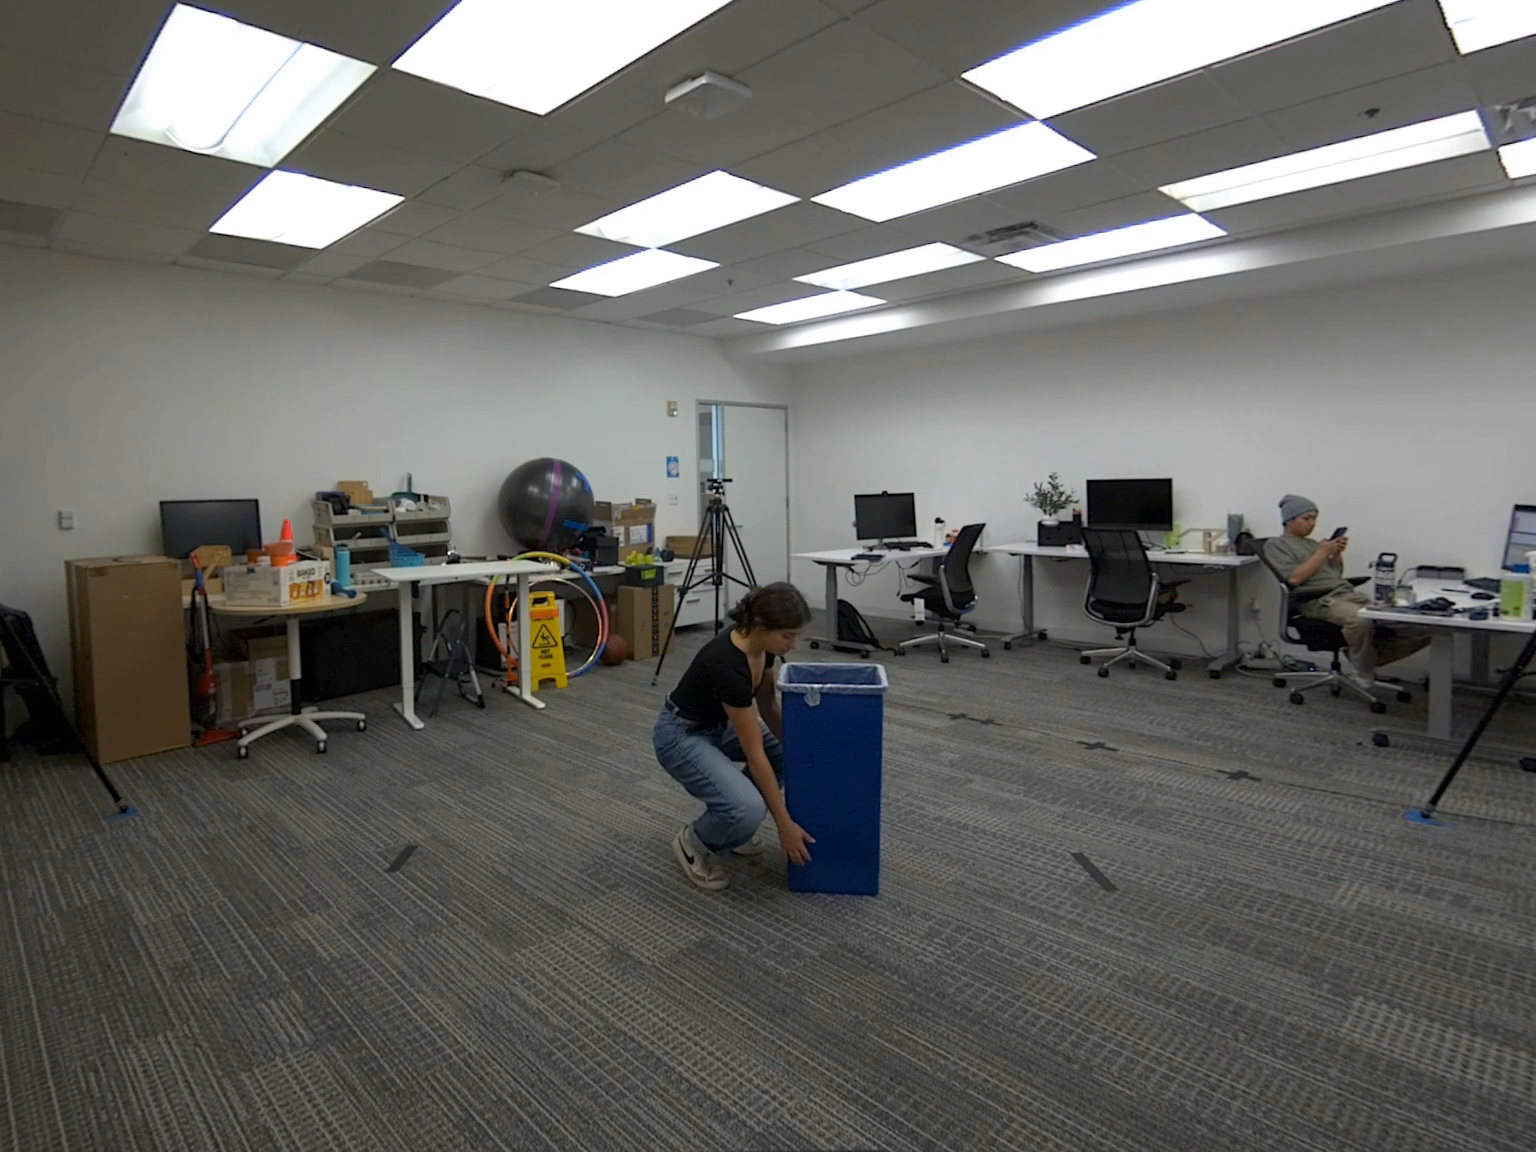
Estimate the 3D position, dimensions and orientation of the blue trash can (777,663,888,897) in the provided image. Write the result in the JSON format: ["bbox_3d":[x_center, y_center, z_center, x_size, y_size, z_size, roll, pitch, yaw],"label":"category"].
[{"bbox_3d":[0.221,0.691,3.001,0.381,0.711,0.373,0,4,6],"label":"blue trash can"}]
